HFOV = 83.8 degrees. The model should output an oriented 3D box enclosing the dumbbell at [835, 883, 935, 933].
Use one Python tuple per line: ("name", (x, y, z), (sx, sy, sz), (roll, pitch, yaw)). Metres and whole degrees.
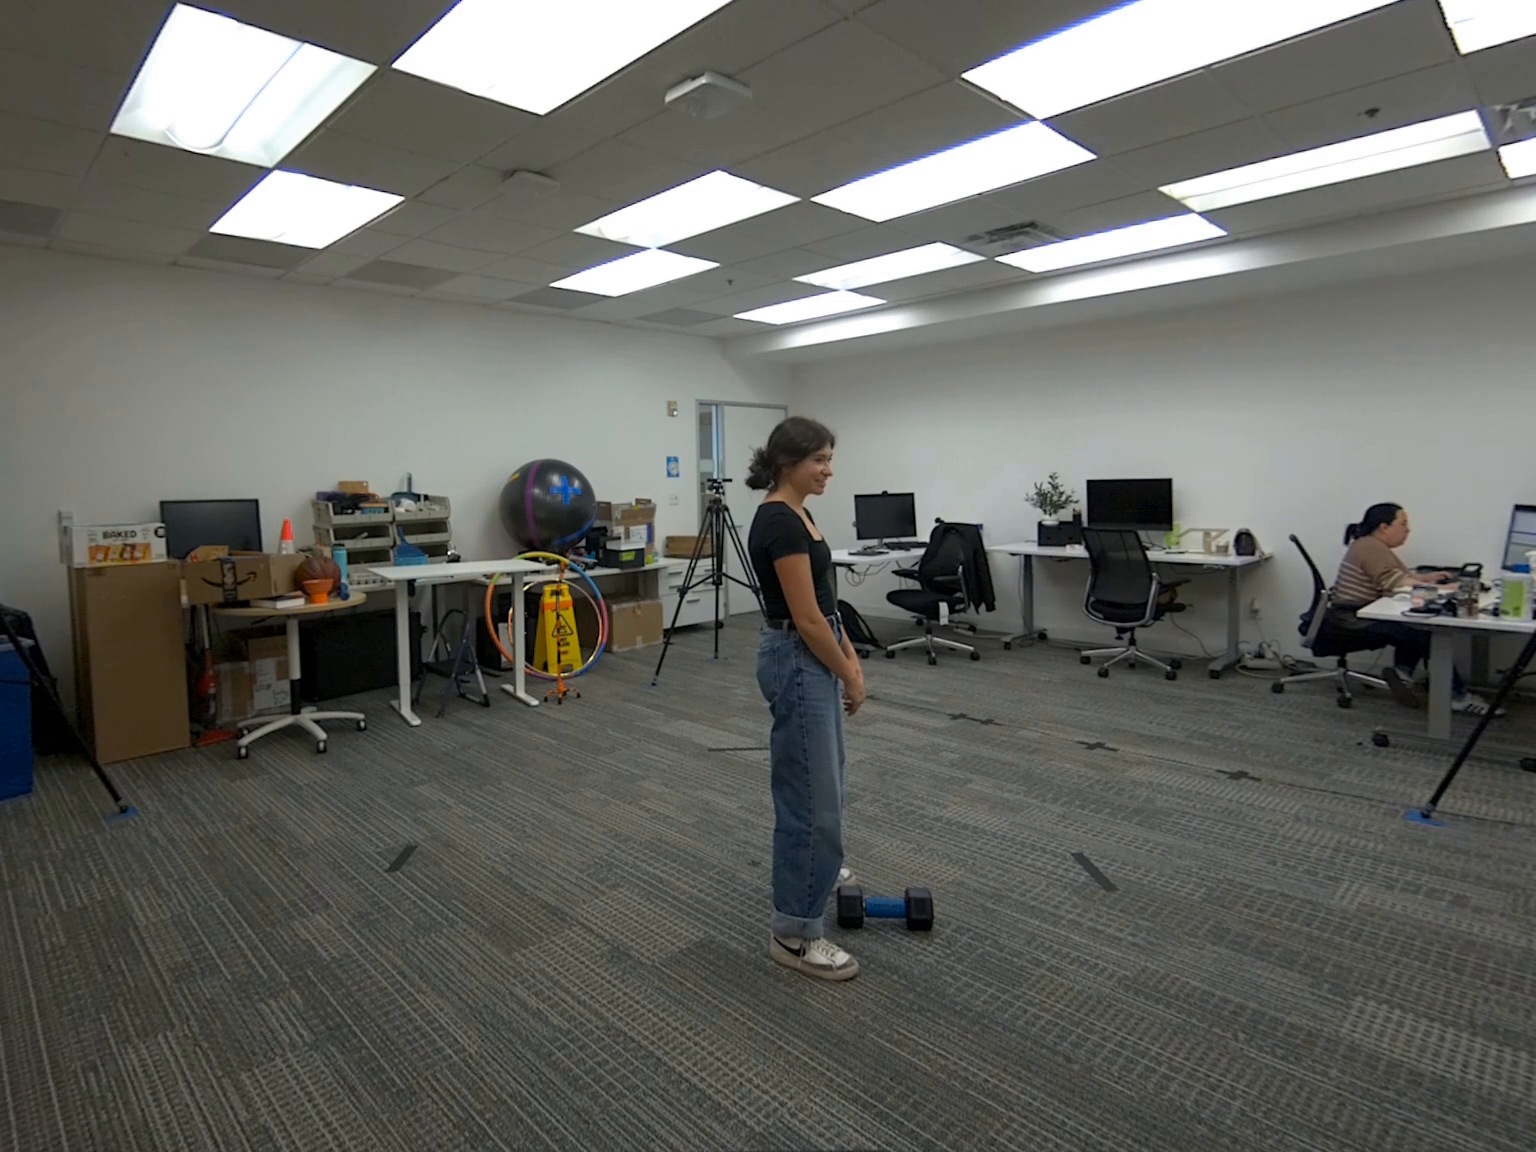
("dumbbell", (0.368, 1.037, 2.663), (0.295, 0.125, 0.106), (-1, -26, 5))
